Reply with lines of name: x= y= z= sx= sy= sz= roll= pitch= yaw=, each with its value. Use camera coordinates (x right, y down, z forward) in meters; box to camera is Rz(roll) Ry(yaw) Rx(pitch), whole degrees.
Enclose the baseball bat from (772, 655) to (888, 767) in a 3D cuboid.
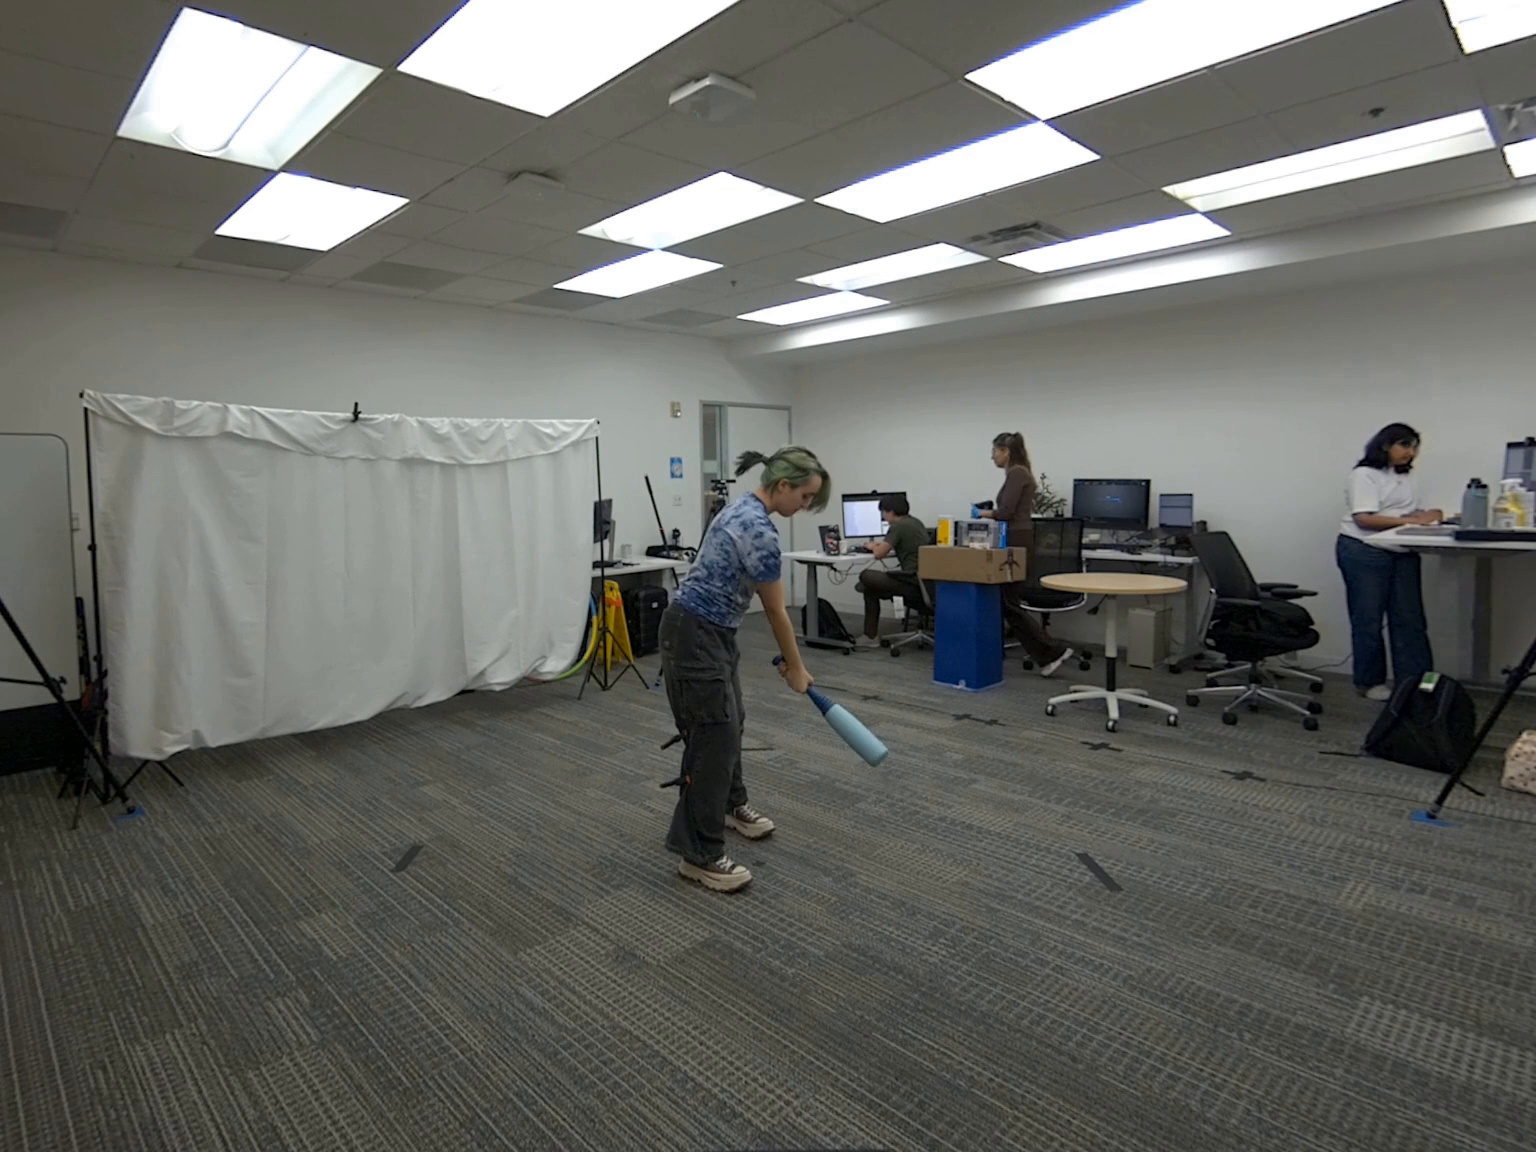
baseball bat: x=0.211 y=0.484 z=3.126 sx=0.561 sy=0.088 sz=0.087 roll=41 pitch=26 yaw=27
